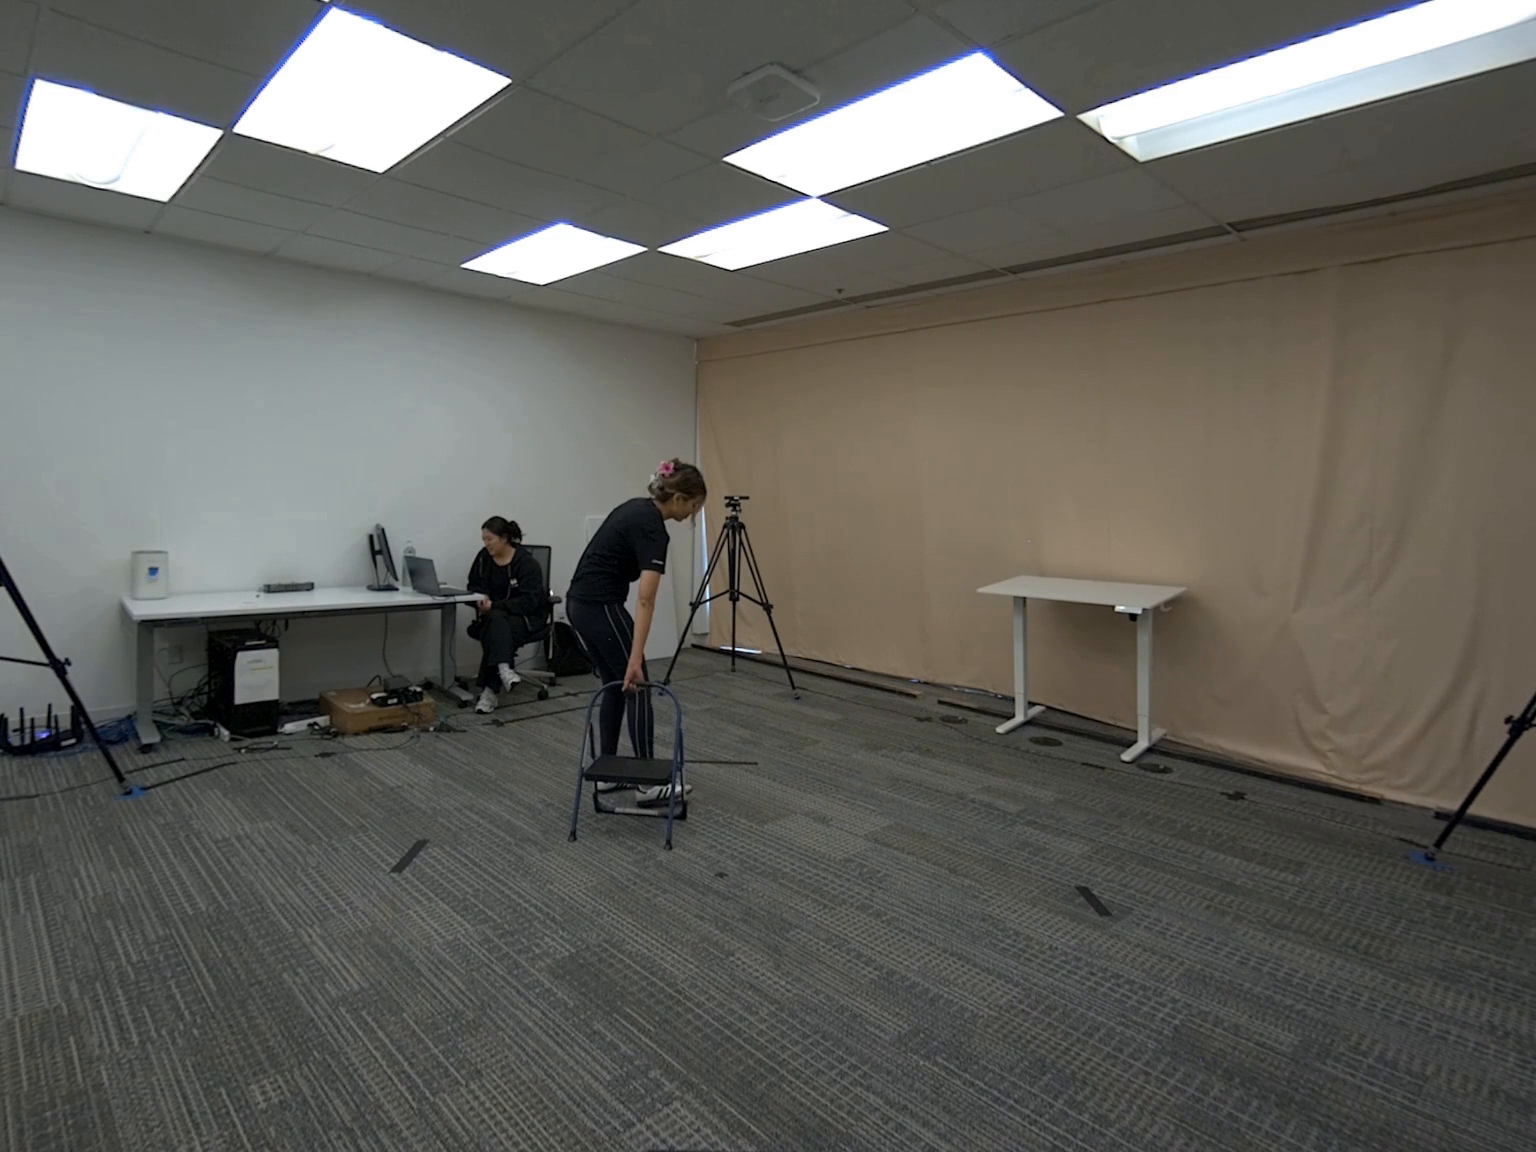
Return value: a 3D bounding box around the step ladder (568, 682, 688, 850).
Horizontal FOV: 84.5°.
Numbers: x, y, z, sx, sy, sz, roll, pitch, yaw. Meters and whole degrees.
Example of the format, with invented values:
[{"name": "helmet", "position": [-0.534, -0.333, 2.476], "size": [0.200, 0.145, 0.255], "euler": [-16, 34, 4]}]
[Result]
[{"name": "step ladder", "position": [-0.572, 0.762, 3.500], "size": [0.433, 0.604, 0.348], "euler": [2, 4, 7]}]
